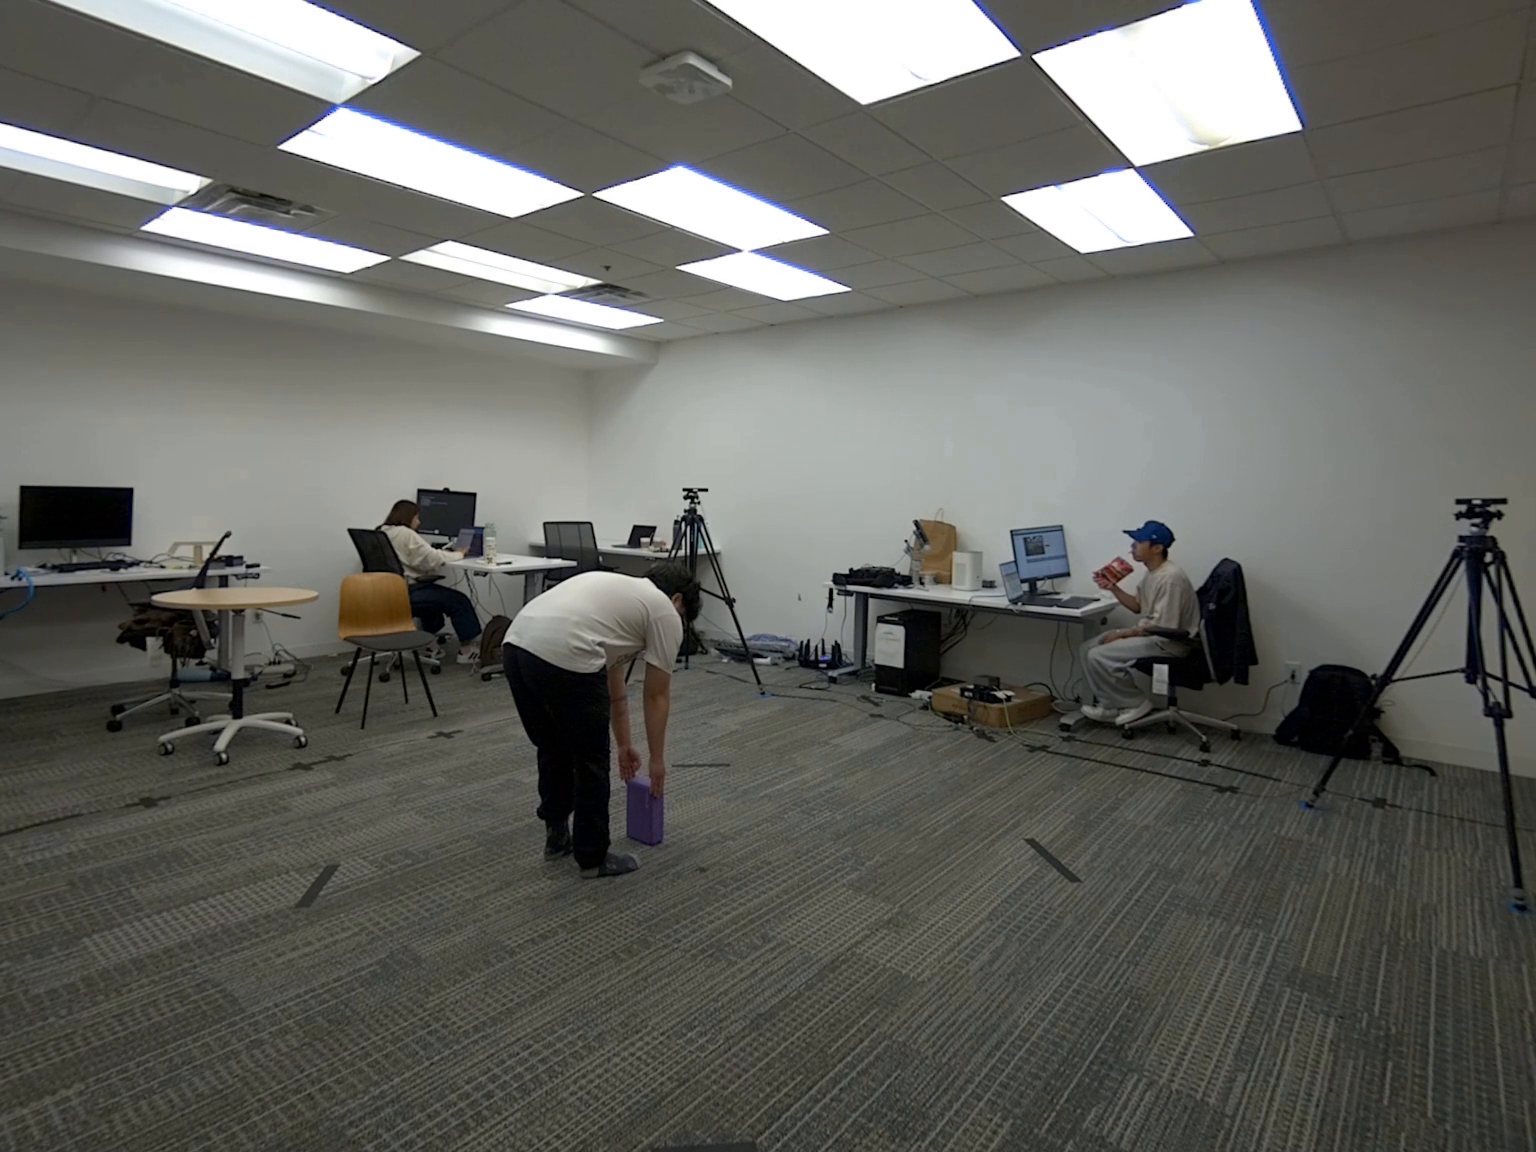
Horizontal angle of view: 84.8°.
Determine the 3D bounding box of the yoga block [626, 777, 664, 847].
[{"bbox_3d":[-0.505,0.929,3.369,0.154,0.228,0.074,2,5,39],"label":"yoga block"}]
